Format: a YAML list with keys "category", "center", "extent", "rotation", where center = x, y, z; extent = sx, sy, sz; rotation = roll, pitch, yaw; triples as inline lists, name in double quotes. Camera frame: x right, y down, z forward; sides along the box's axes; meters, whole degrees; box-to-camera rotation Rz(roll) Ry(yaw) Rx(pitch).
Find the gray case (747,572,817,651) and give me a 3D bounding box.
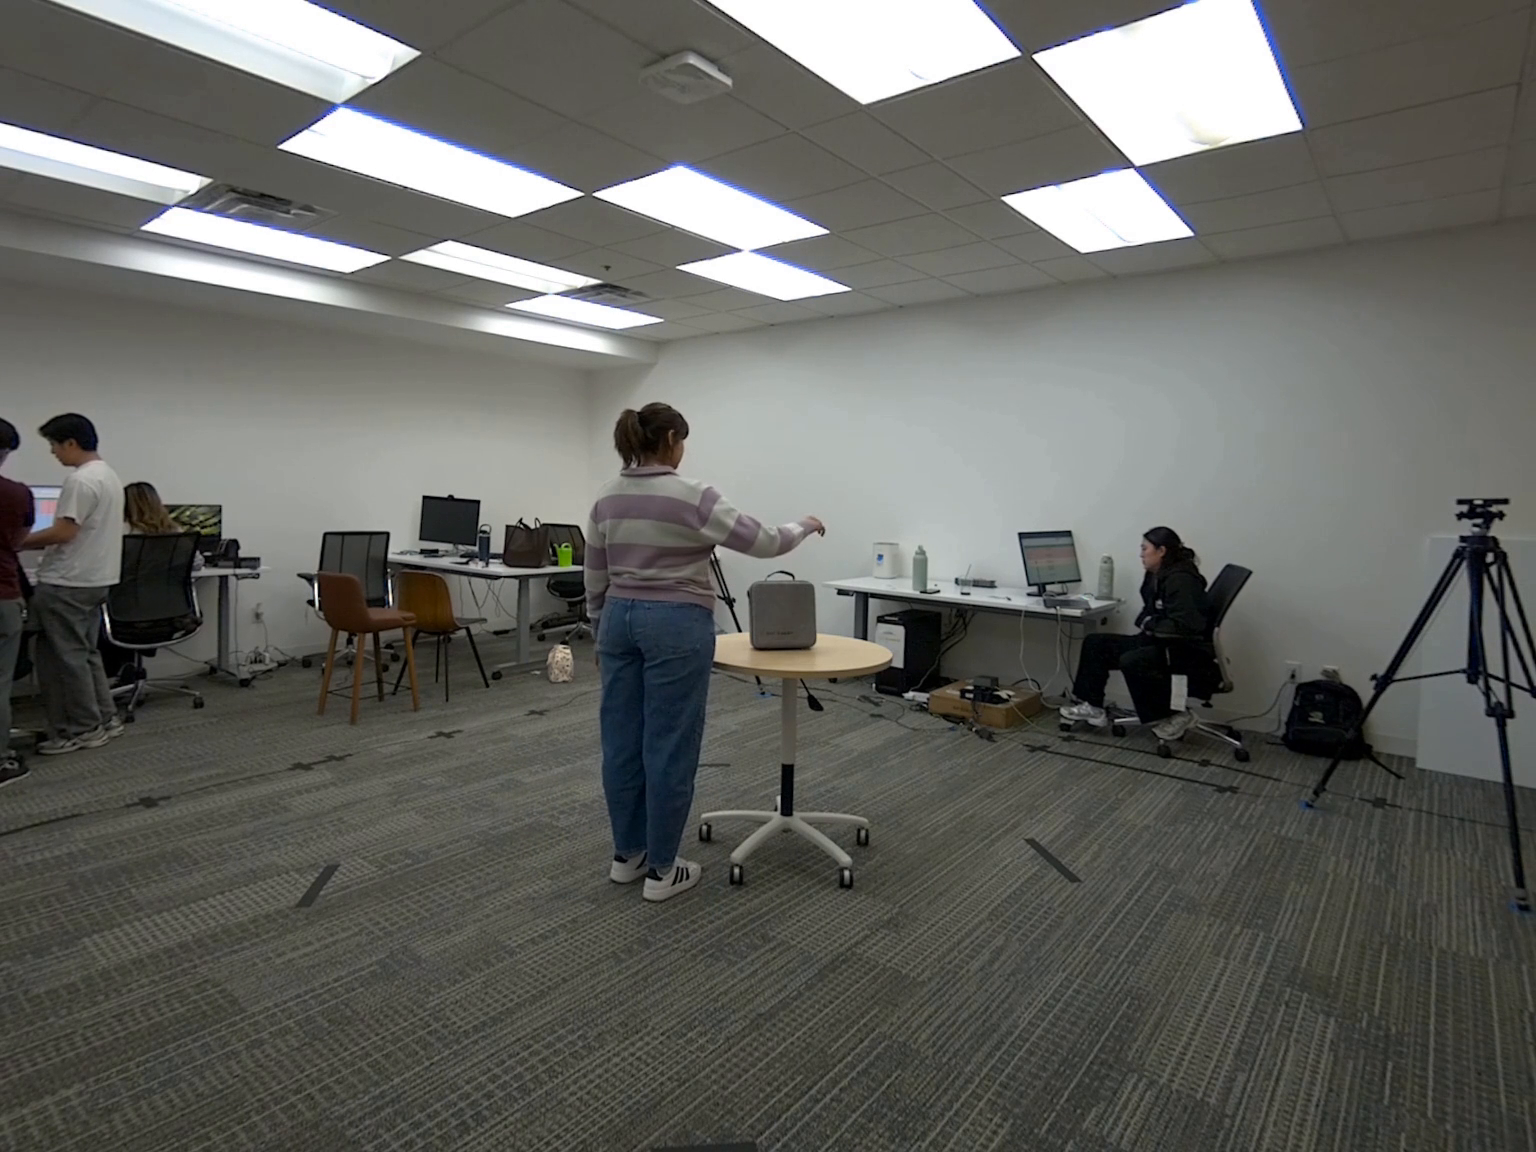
- category: "gray case"
  center: [0.047, 0.145, 3.273]
  extent: [0.254, 0.262, 0.105]
  rotation: [2, -6, -11]
